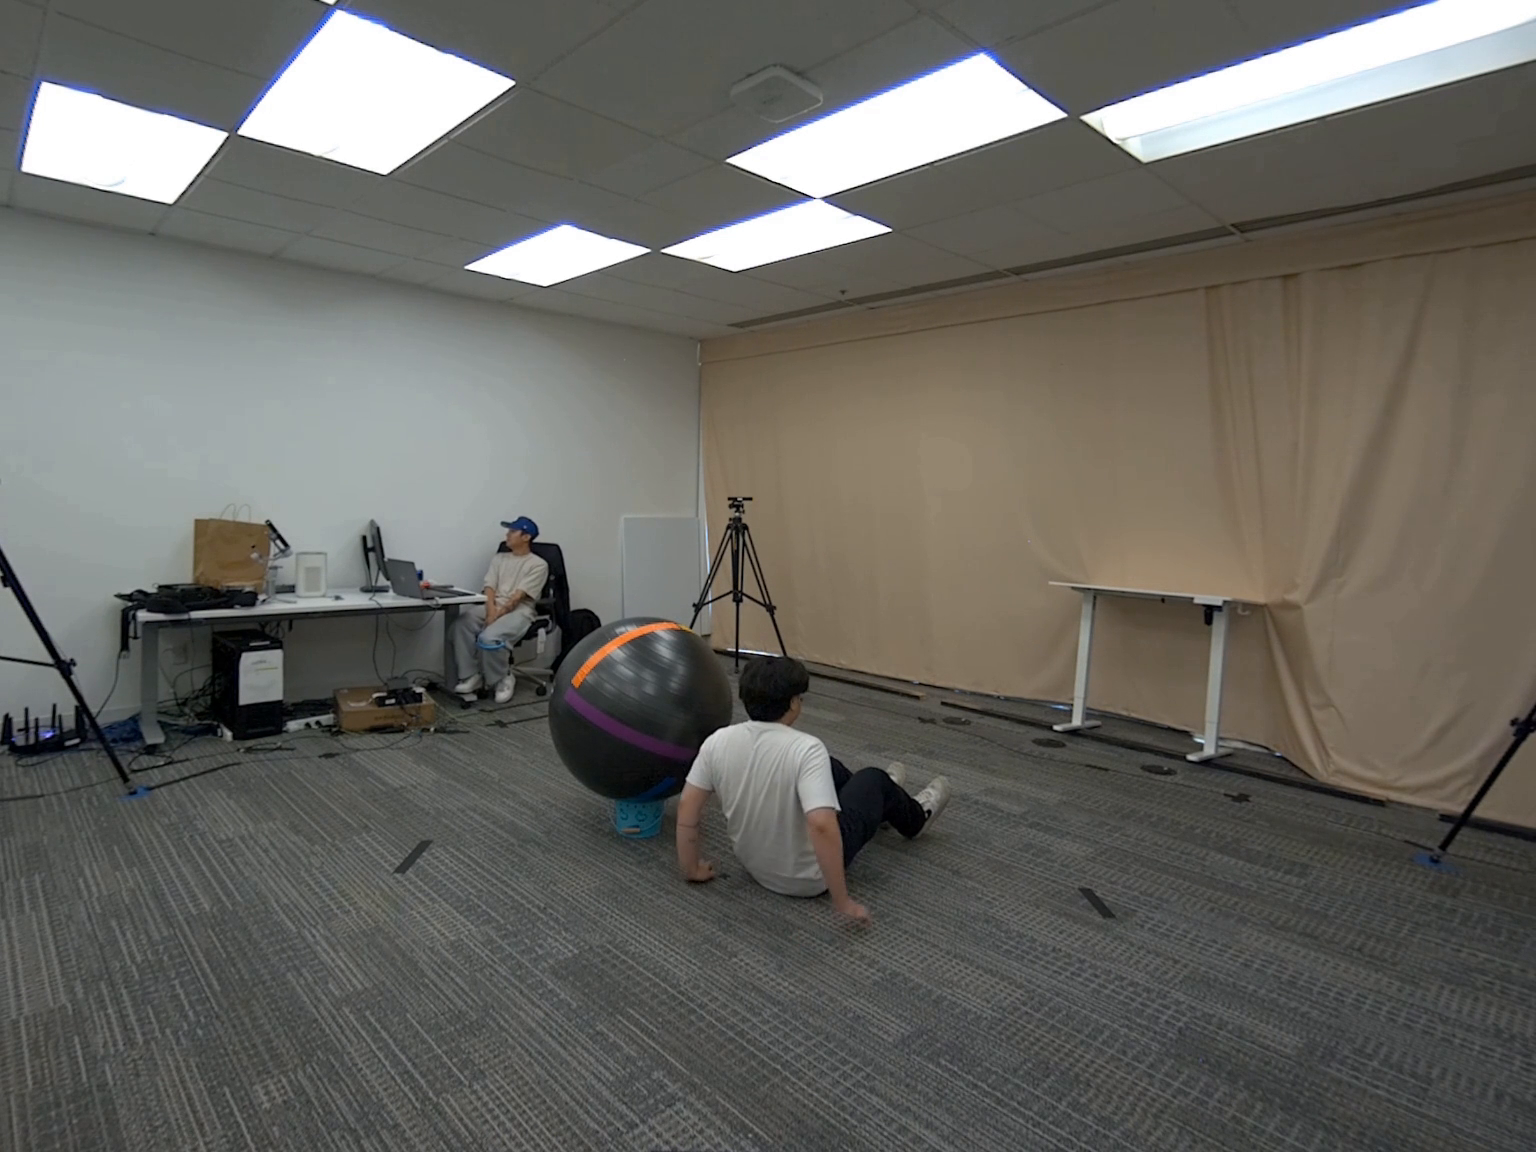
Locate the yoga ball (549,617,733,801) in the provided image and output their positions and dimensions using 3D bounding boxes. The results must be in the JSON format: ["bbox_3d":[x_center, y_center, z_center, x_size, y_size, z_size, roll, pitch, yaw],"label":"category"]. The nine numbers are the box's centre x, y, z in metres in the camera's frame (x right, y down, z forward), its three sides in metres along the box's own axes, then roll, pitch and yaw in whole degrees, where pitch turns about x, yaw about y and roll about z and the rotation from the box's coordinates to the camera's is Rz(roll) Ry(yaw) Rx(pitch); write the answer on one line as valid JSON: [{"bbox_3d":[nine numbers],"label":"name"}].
[{"bbox_3d":[-0.537,0.552,3.524,0.757,0.756,0.761,1,4,-1],"label":"yoga ball"}]
